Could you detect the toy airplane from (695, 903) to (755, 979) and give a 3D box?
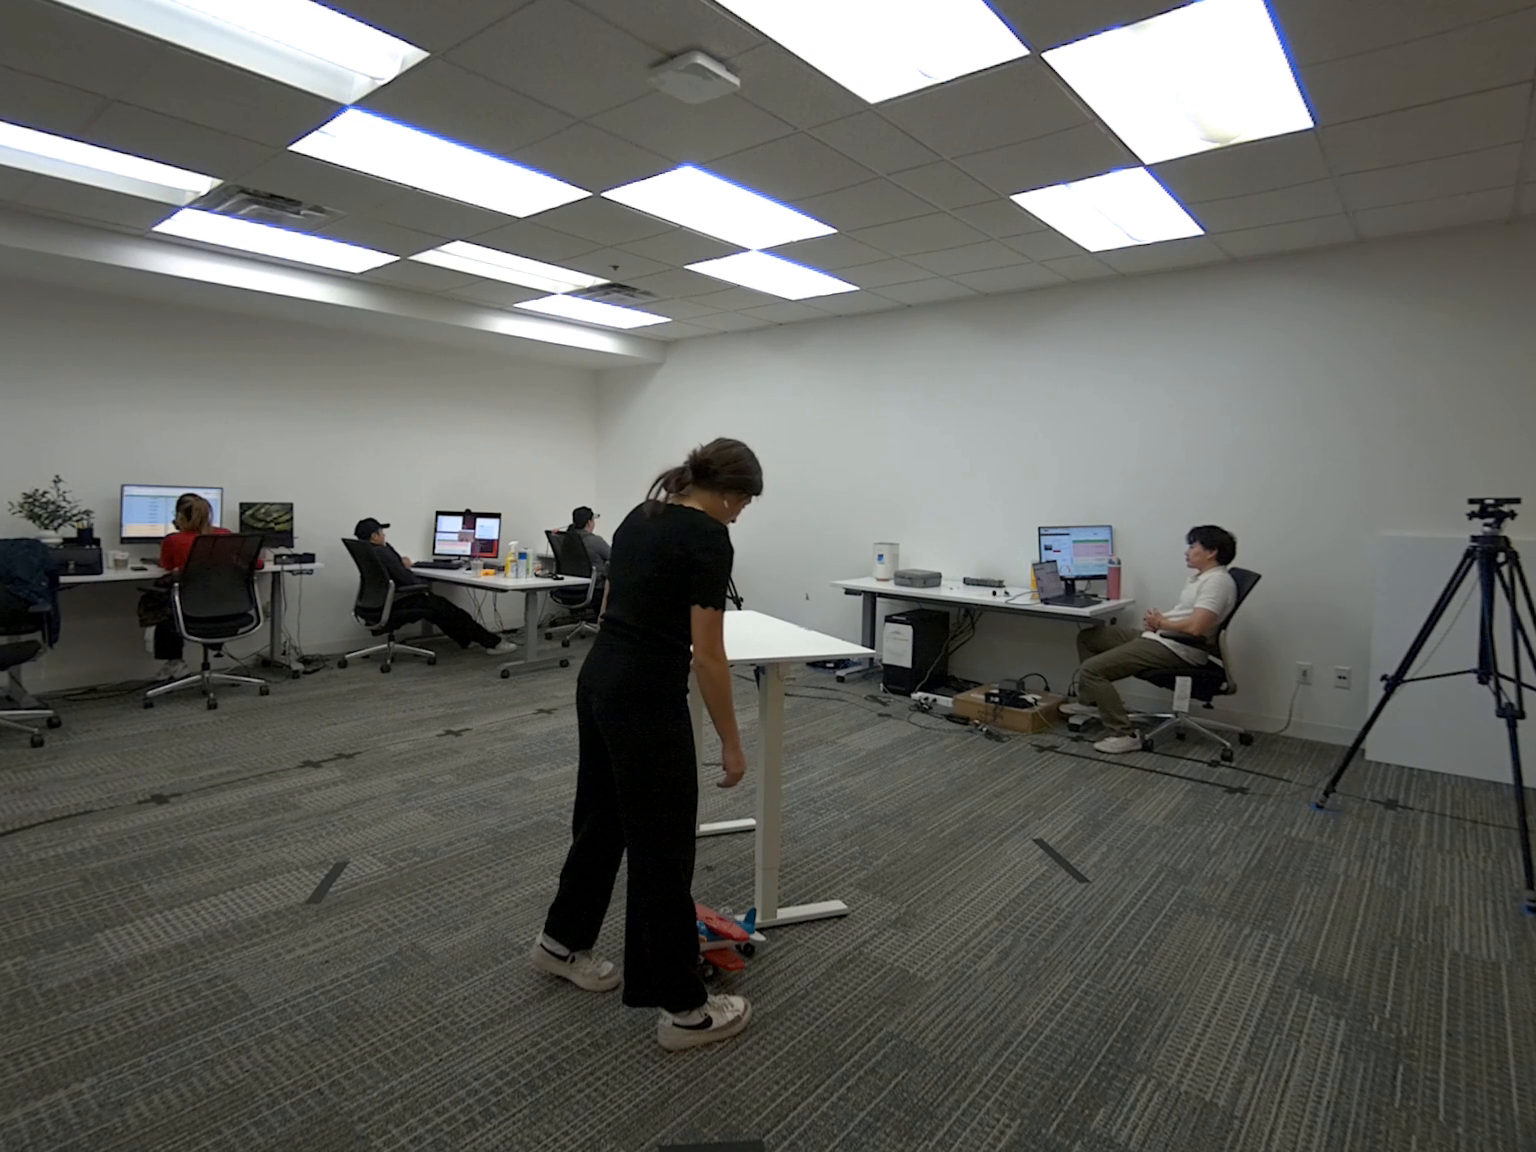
[{"bbox_3d":[-0.148,1.055,2.502,0.256,0.155,0.255,2,7,20],"label":"toy airplane"}]
